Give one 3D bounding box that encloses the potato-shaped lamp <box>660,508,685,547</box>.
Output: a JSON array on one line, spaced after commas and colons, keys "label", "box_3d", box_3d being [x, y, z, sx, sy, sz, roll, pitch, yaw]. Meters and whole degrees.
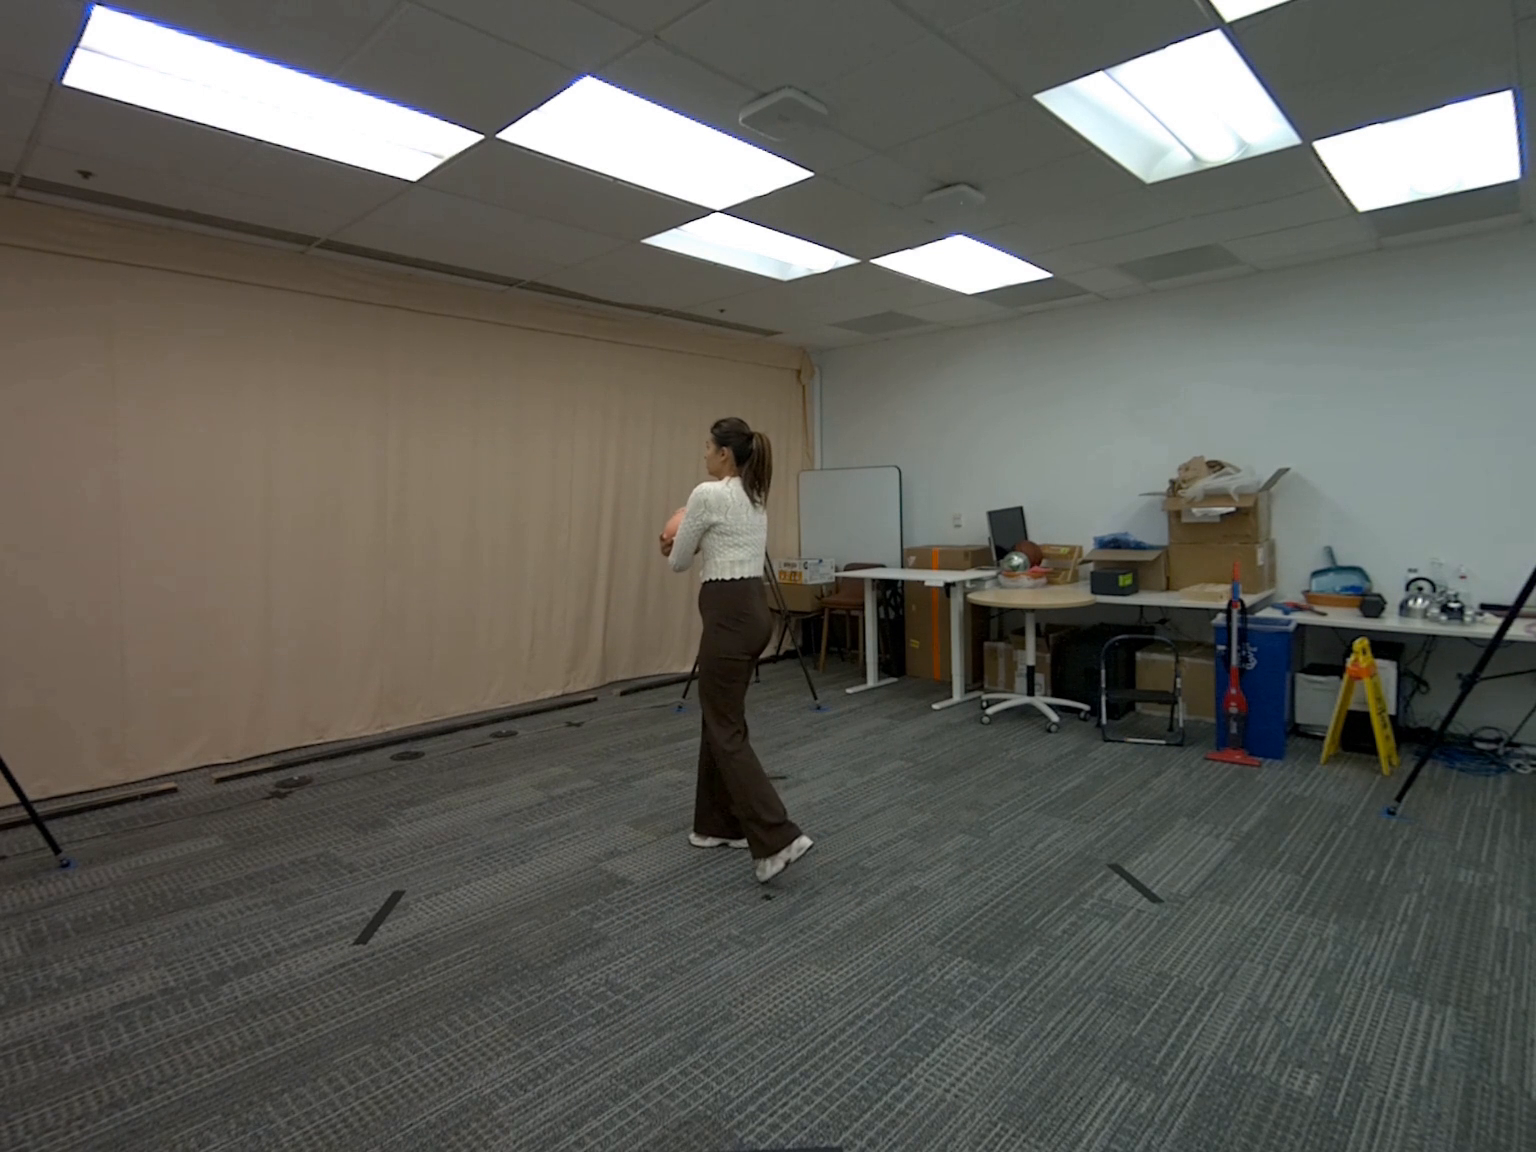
[{"label": "potato-shaped lamp", "box_3d": [-0.337, -0.190, 3.504, 0.168, 0.201, 0.165, -18, -40, 26]}]
